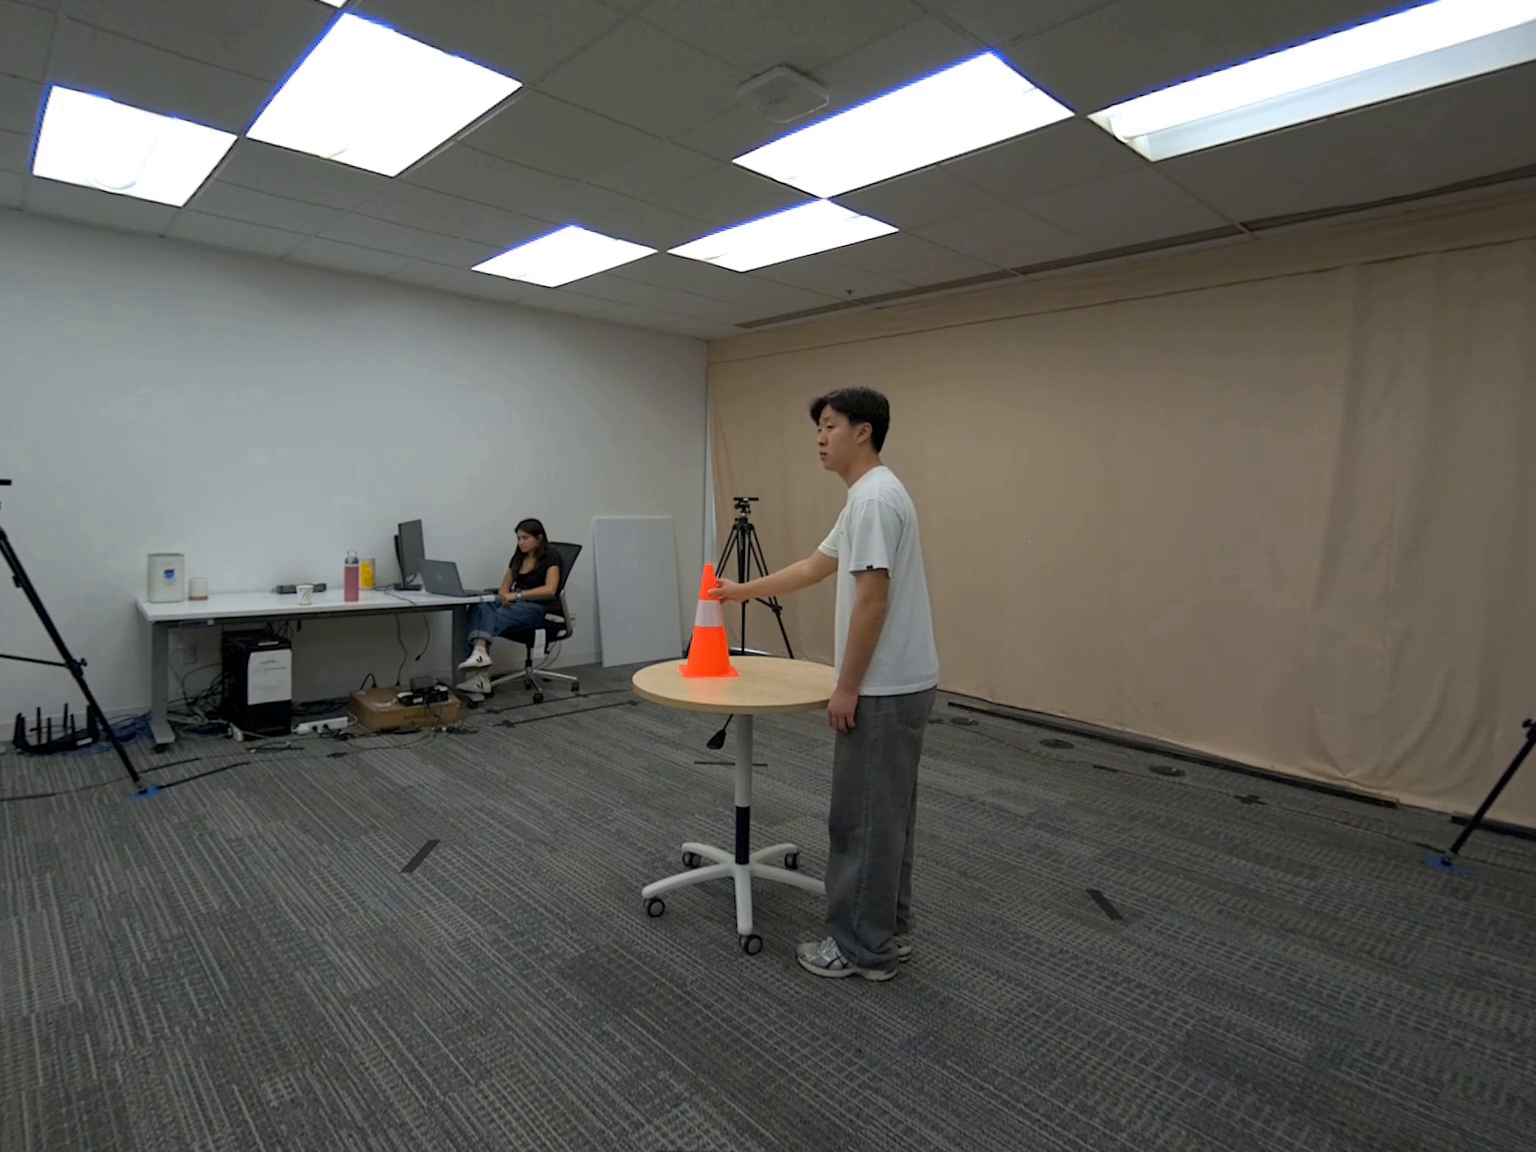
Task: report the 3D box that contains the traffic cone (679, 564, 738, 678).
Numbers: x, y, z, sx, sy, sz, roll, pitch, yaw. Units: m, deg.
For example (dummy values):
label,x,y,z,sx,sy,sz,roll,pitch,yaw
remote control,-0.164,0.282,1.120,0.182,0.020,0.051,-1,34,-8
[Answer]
label,x,y,z,sx,sy,sz,roll,pitch,yaw
traffic cone,-0.211,0.151,2.945,0.202,0.383,0.207,2,3,-8
